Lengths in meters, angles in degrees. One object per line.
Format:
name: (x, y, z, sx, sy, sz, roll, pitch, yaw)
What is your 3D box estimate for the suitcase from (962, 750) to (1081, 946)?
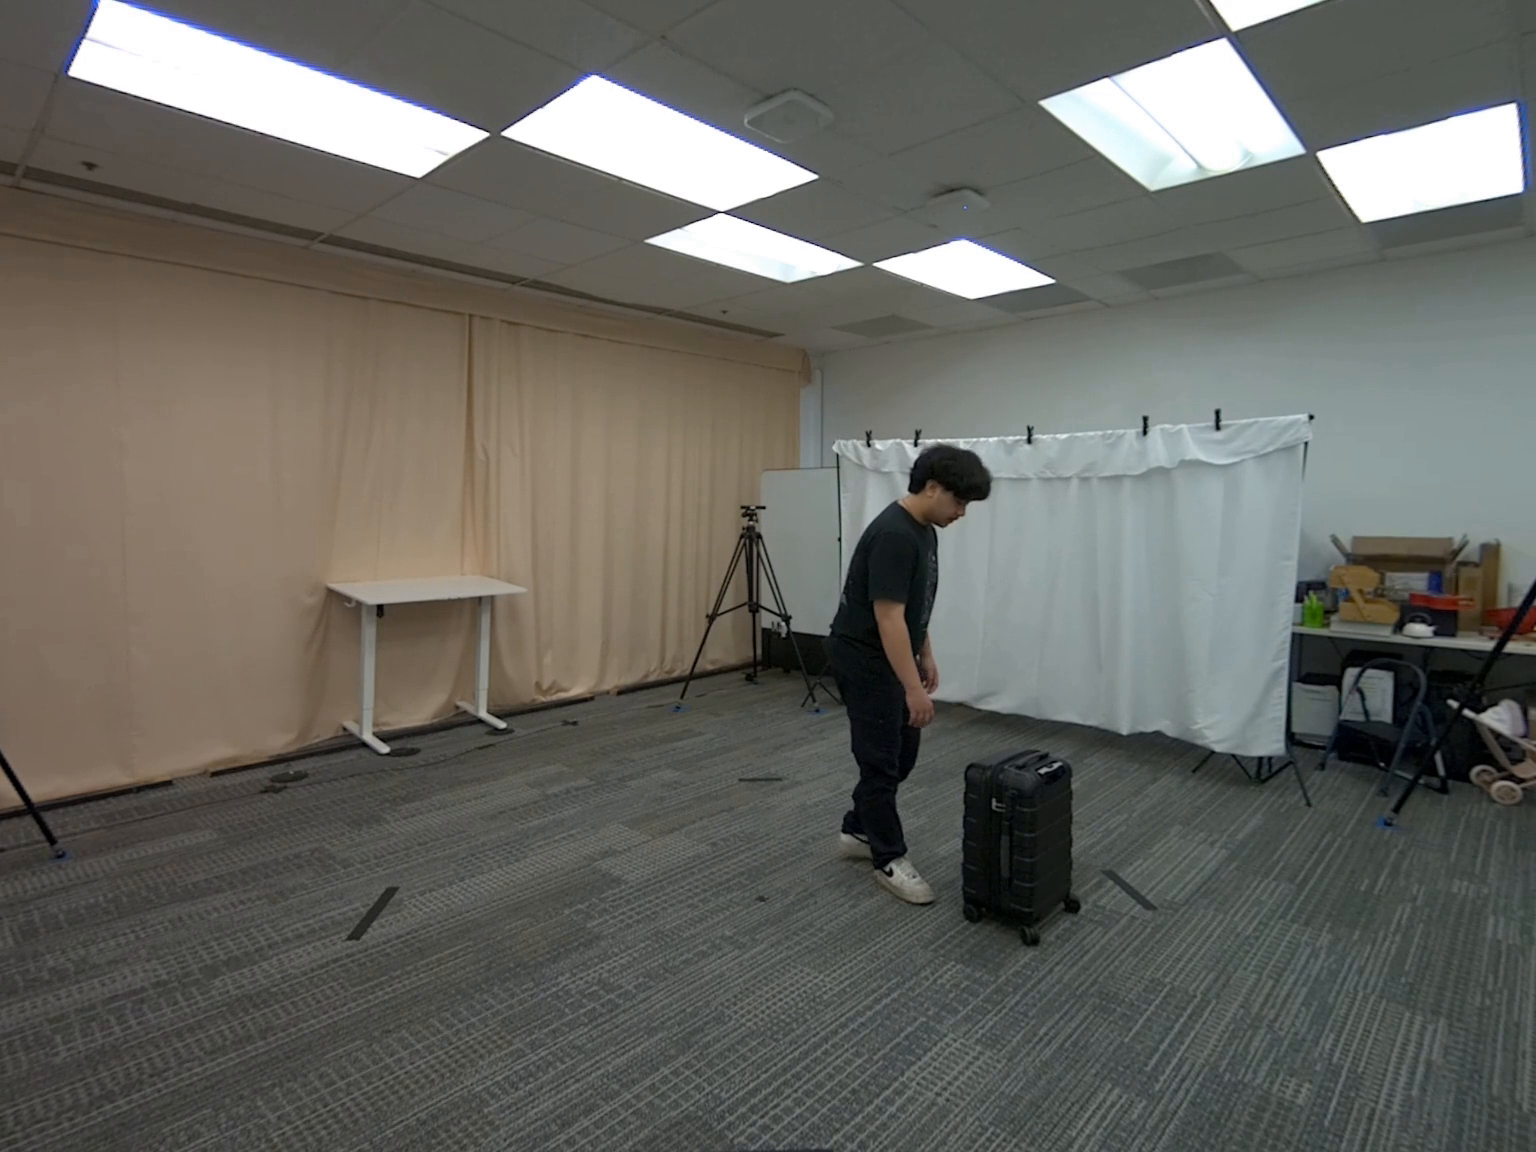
suitcase: (0.858, 0.877, 2.852, 0.256, 0.548, 0.364, 1, 3, 45)
